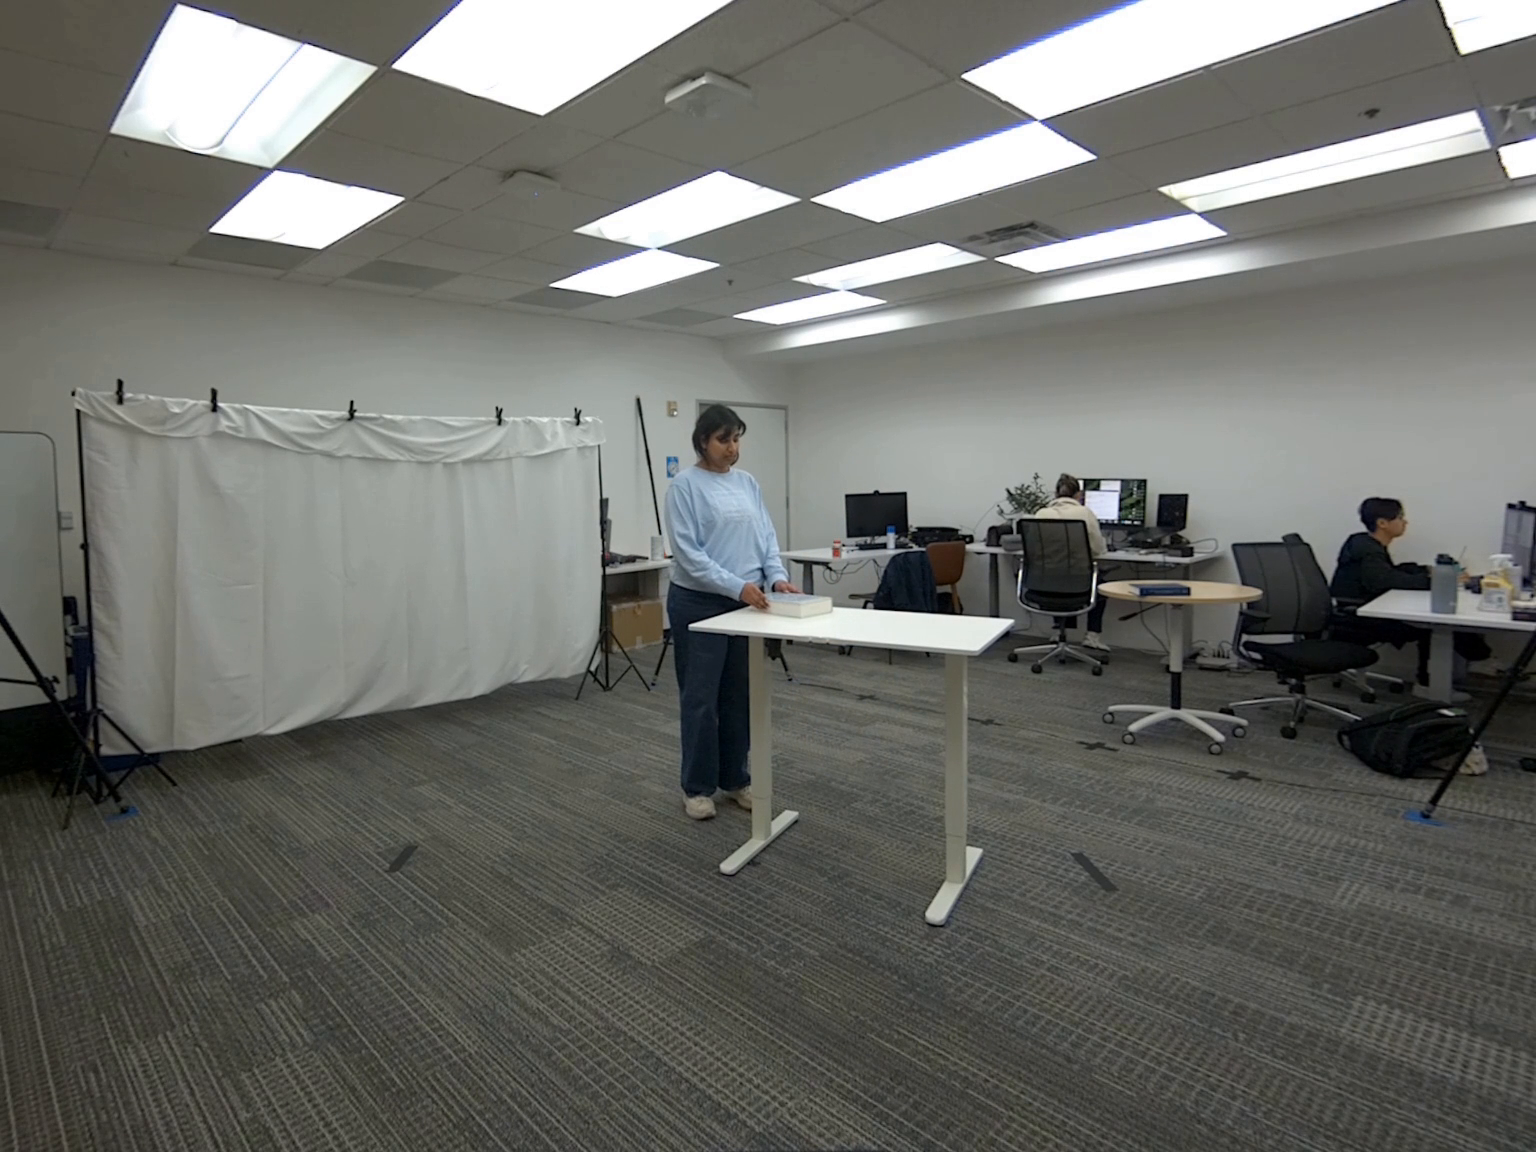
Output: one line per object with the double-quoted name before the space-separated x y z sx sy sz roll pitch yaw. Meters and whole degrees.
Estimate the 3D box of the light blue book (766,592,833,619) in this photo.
"light blue book" 0.102 0.115 3.278 0.269 0.059 0.186 4 8 41
